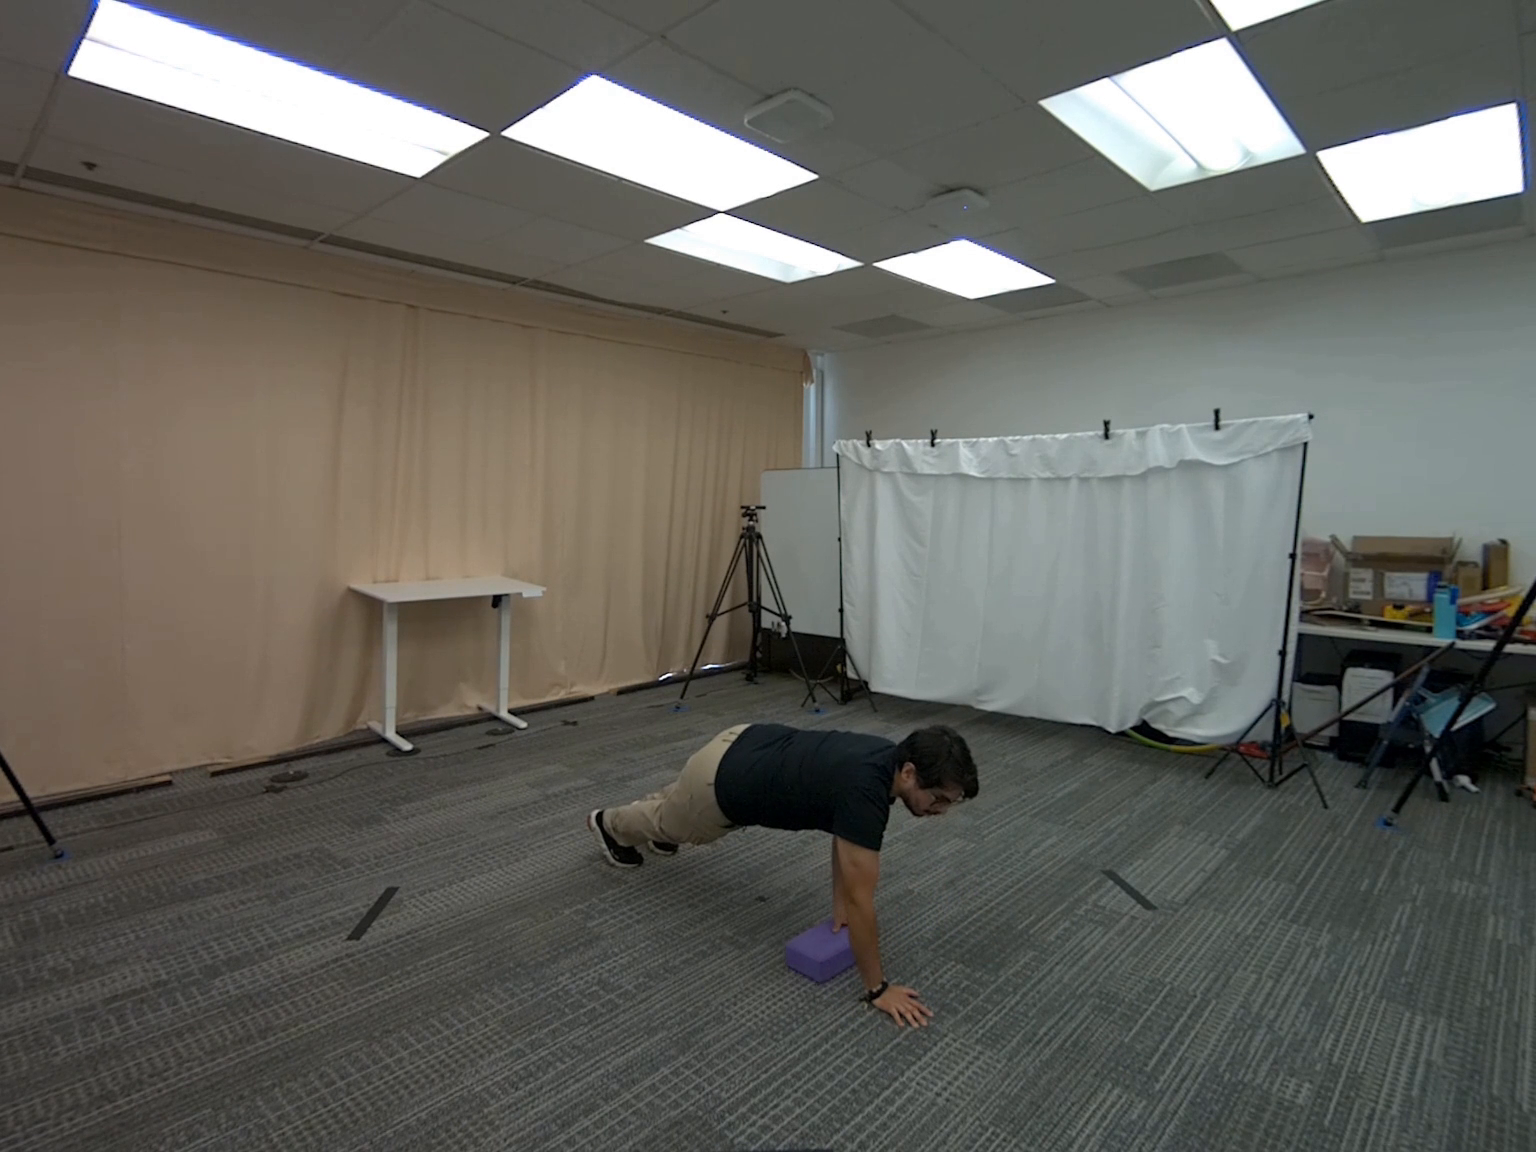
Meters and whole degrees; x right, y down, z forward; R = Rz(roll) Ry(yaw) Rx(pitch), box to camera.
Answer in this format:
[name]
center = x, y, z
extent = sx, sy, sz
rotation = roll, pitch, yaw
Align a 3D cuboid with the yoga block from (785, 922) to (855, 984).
[yoga block]
center = 0.181, 1.140, 2.561
extent = 0.222, 0.076, 0.154
rotation = -5, 8, -44
